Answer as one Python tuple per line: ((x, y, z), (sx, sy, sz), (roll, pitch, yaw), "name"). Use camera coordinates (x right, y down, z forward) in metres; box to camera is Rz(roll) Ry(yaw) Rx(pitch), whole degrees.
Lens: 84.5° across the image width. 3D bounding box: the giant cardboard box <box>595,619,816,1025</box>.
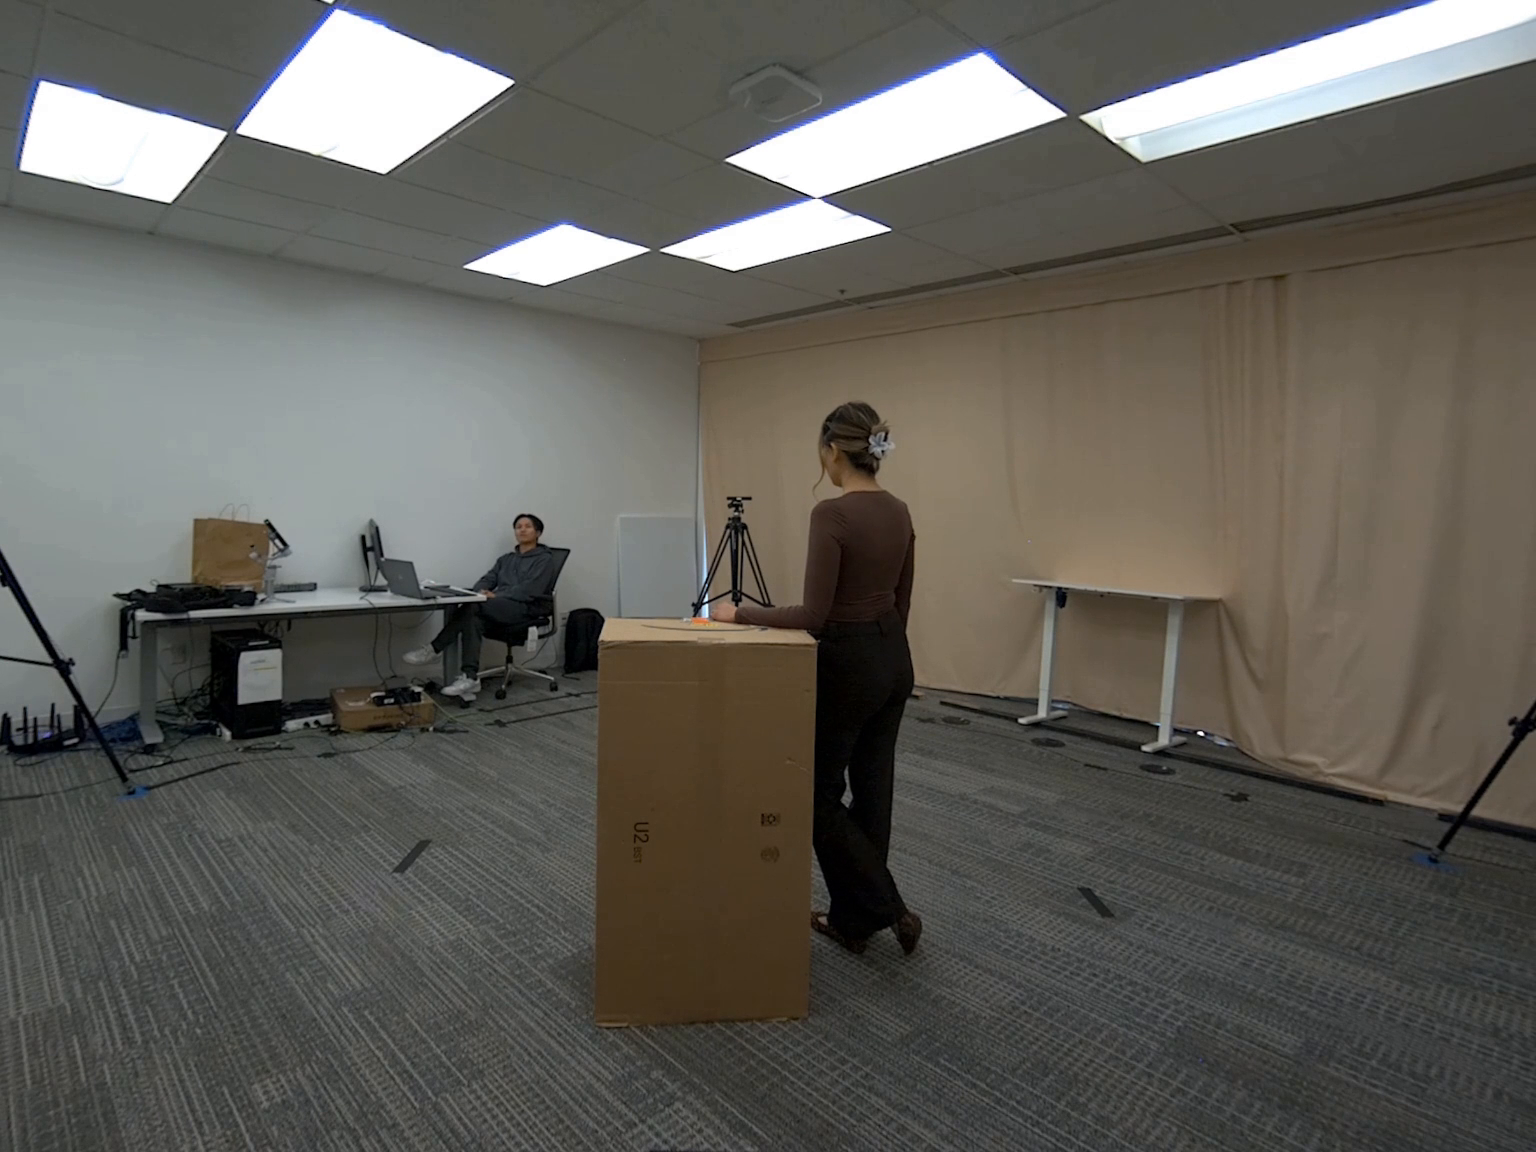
((-0.201, 0.661, 2.408), (0.580, 1.024, 0.451), (1, 3, -8), "giant cardboard box")
